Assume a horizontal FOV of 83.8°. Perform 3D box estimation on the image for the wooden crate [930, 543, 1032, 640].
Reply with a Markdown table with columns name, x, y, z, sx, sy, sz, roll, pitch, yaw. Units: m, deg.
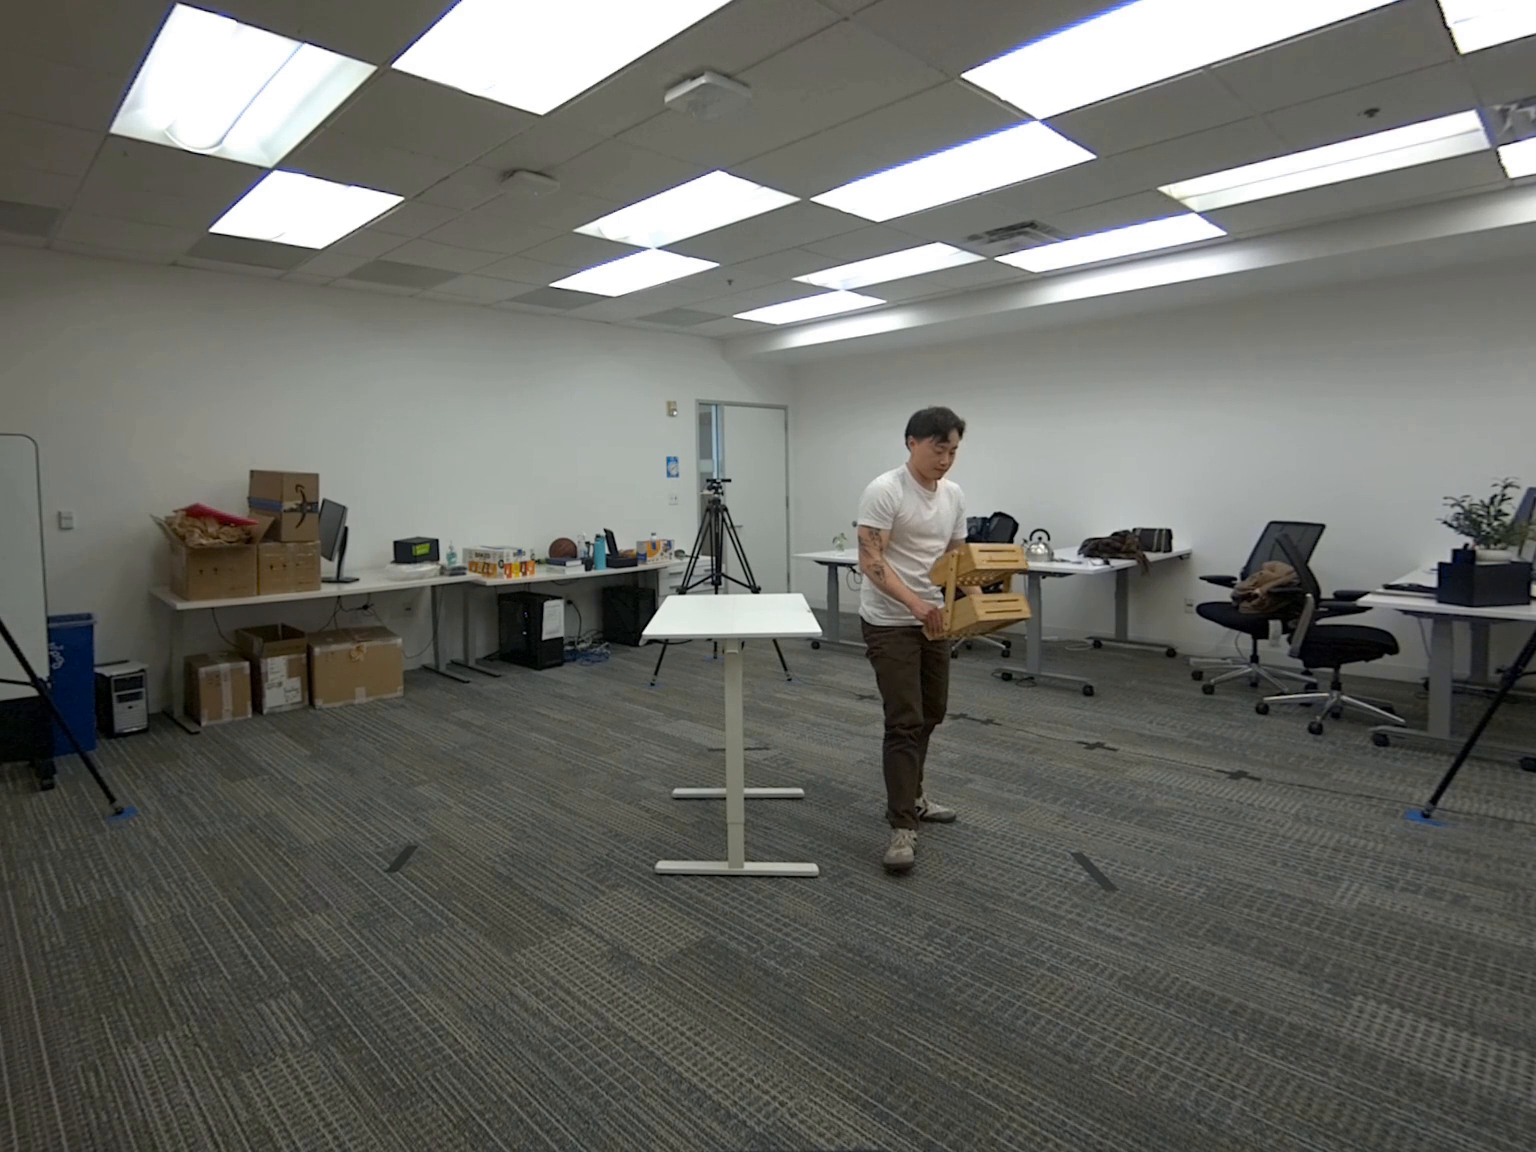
| name | x | y | z | sx | sy | sz | roll | pitch | yaw |
| --- | --- | --- | --- | --- | --- | --- | --- | --- | --- |
| wooden crate | 0.735 | 0.059 | 3.059 | 0.315 | 0.278 | 0.305 | 0 | -21 | -38 |
